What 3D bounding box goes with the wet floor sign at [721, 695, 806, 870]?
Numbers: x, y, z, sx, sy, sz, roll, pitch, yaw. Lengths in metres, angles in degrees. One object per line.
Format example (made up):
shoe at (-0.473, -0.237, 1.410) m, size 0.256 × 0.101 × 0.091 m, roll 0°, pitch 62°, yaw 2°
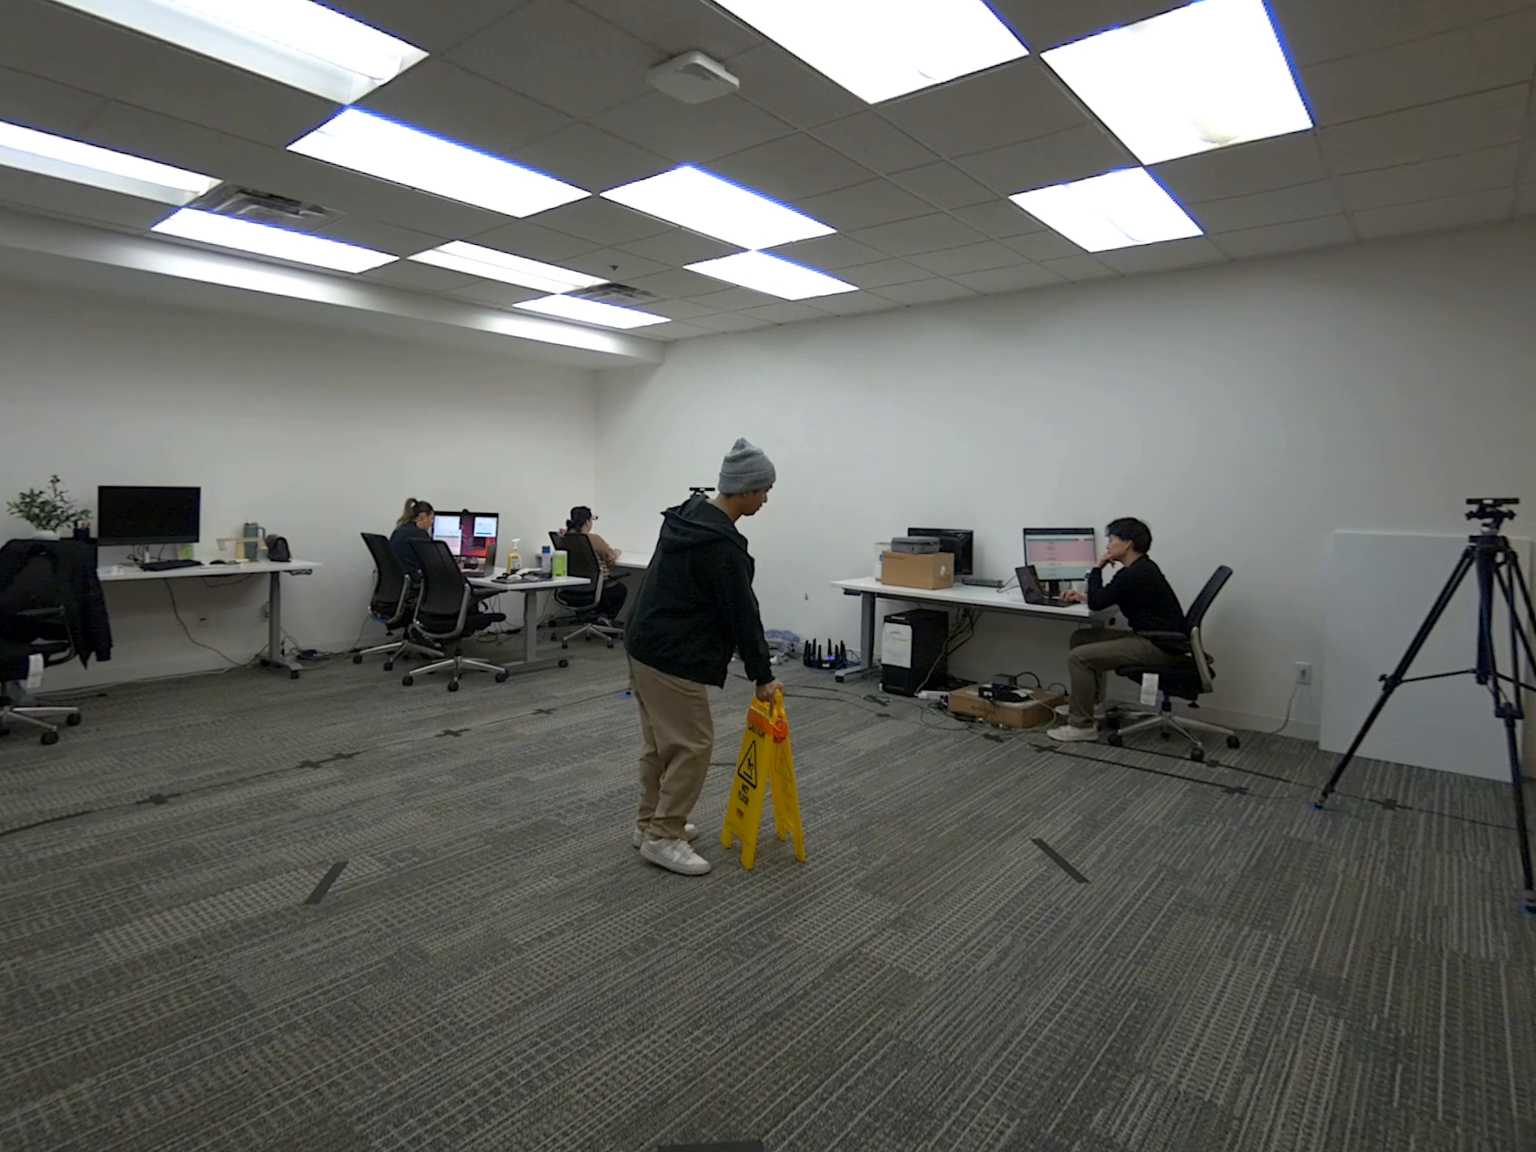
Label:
wet floor sign at (-0.016, 0.729, 3.252) m, size 0.283 × 0.644 × 0.289 m, roll 2°, pitch 3°, yaw -21°
